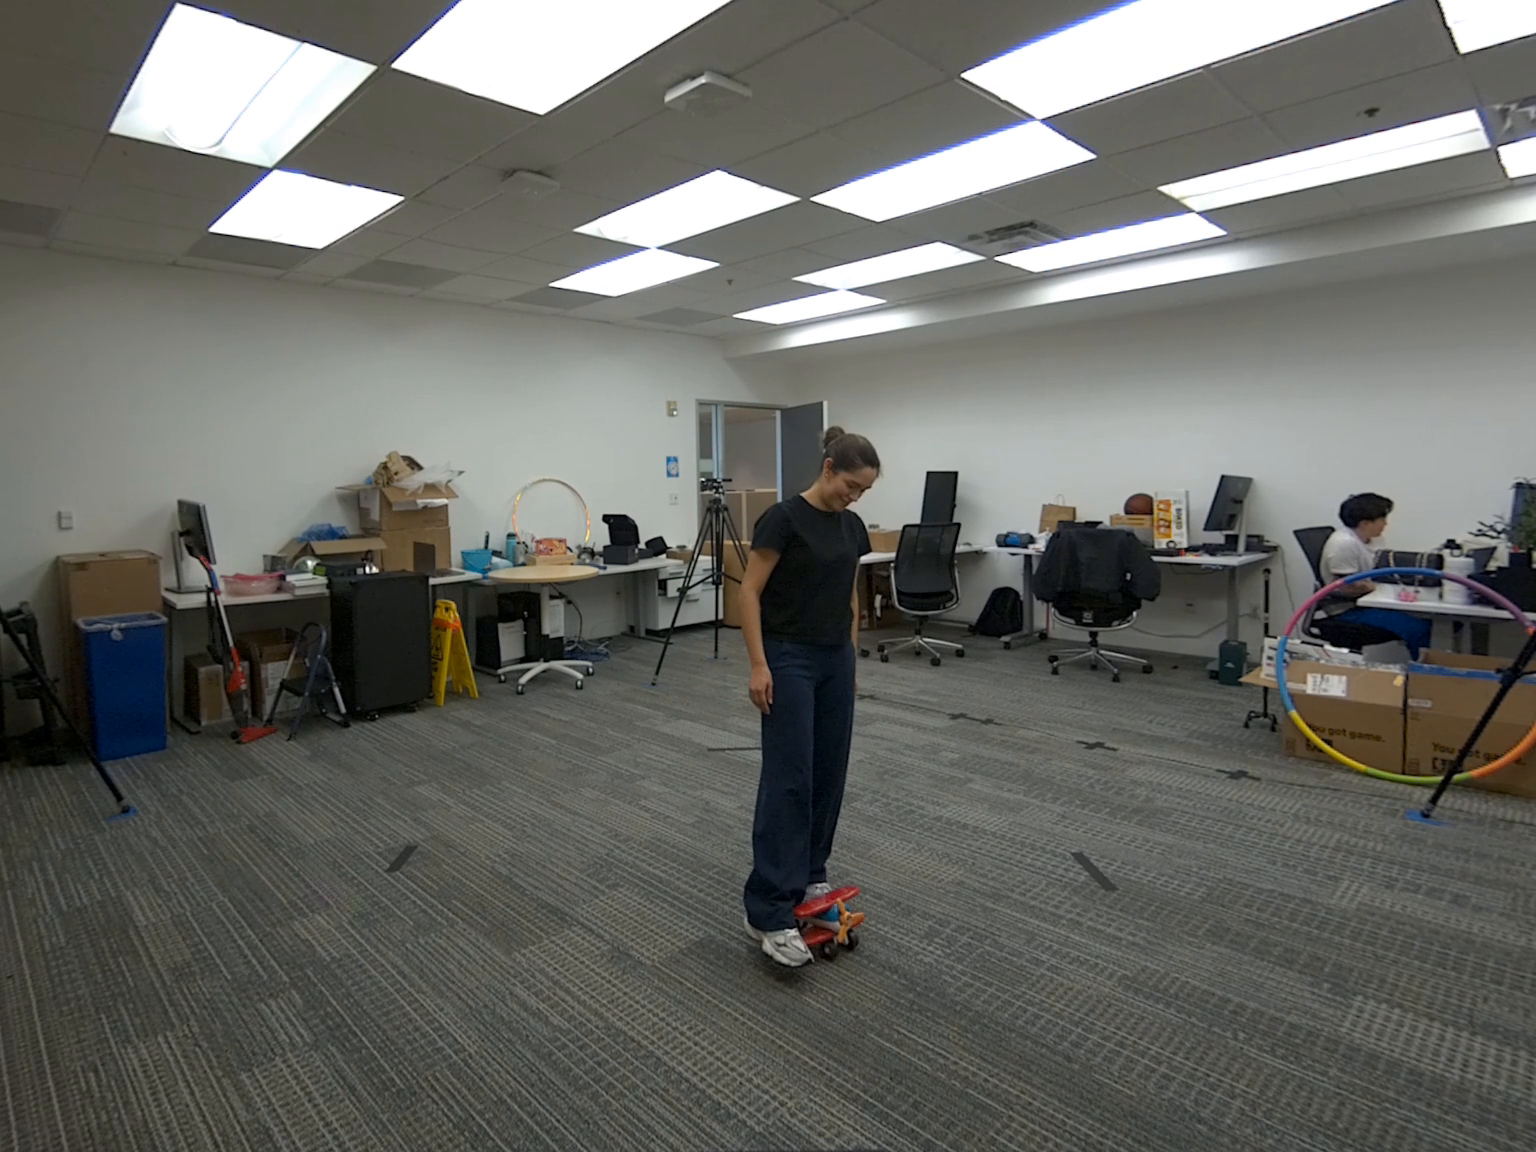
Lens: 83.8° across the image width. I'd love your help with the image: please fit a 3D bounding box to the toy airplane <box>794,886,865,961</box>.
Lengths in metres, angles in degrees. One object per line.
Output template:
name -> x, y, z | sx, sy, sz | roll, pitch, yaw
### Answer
toy airplane -> 0.144, 1.028, 2.582 | 0.265, 0.156, 0.247 | 2, 6, 24
